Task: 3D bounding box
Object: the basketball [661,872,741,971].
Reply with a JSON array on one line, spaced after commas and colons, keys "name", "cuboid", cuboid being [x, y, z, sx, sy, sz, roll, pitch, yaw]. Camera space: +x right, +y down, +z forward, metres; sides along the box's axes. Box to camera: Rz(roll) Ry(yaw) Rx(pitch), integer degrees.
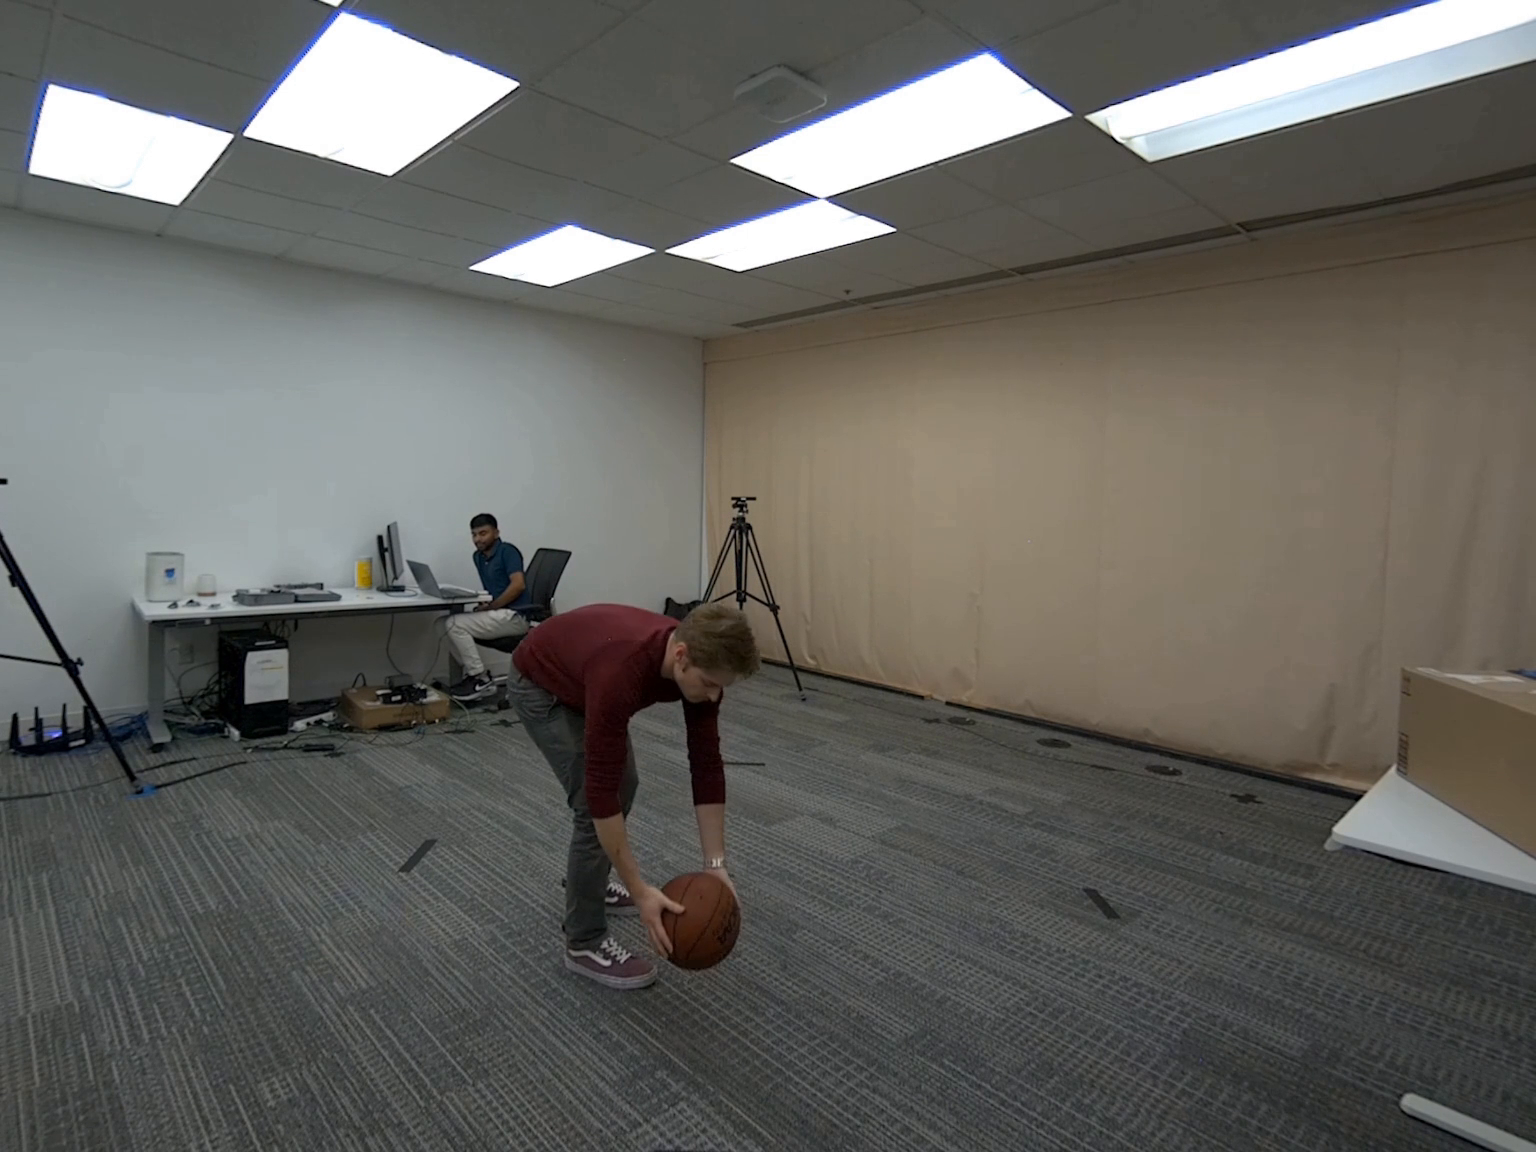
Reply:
[{"name": "basketball", "cuboid": [-0.201, 0.899, 2.225, 0.236, 0.235, 0.237, 1, 4, -1]}]
